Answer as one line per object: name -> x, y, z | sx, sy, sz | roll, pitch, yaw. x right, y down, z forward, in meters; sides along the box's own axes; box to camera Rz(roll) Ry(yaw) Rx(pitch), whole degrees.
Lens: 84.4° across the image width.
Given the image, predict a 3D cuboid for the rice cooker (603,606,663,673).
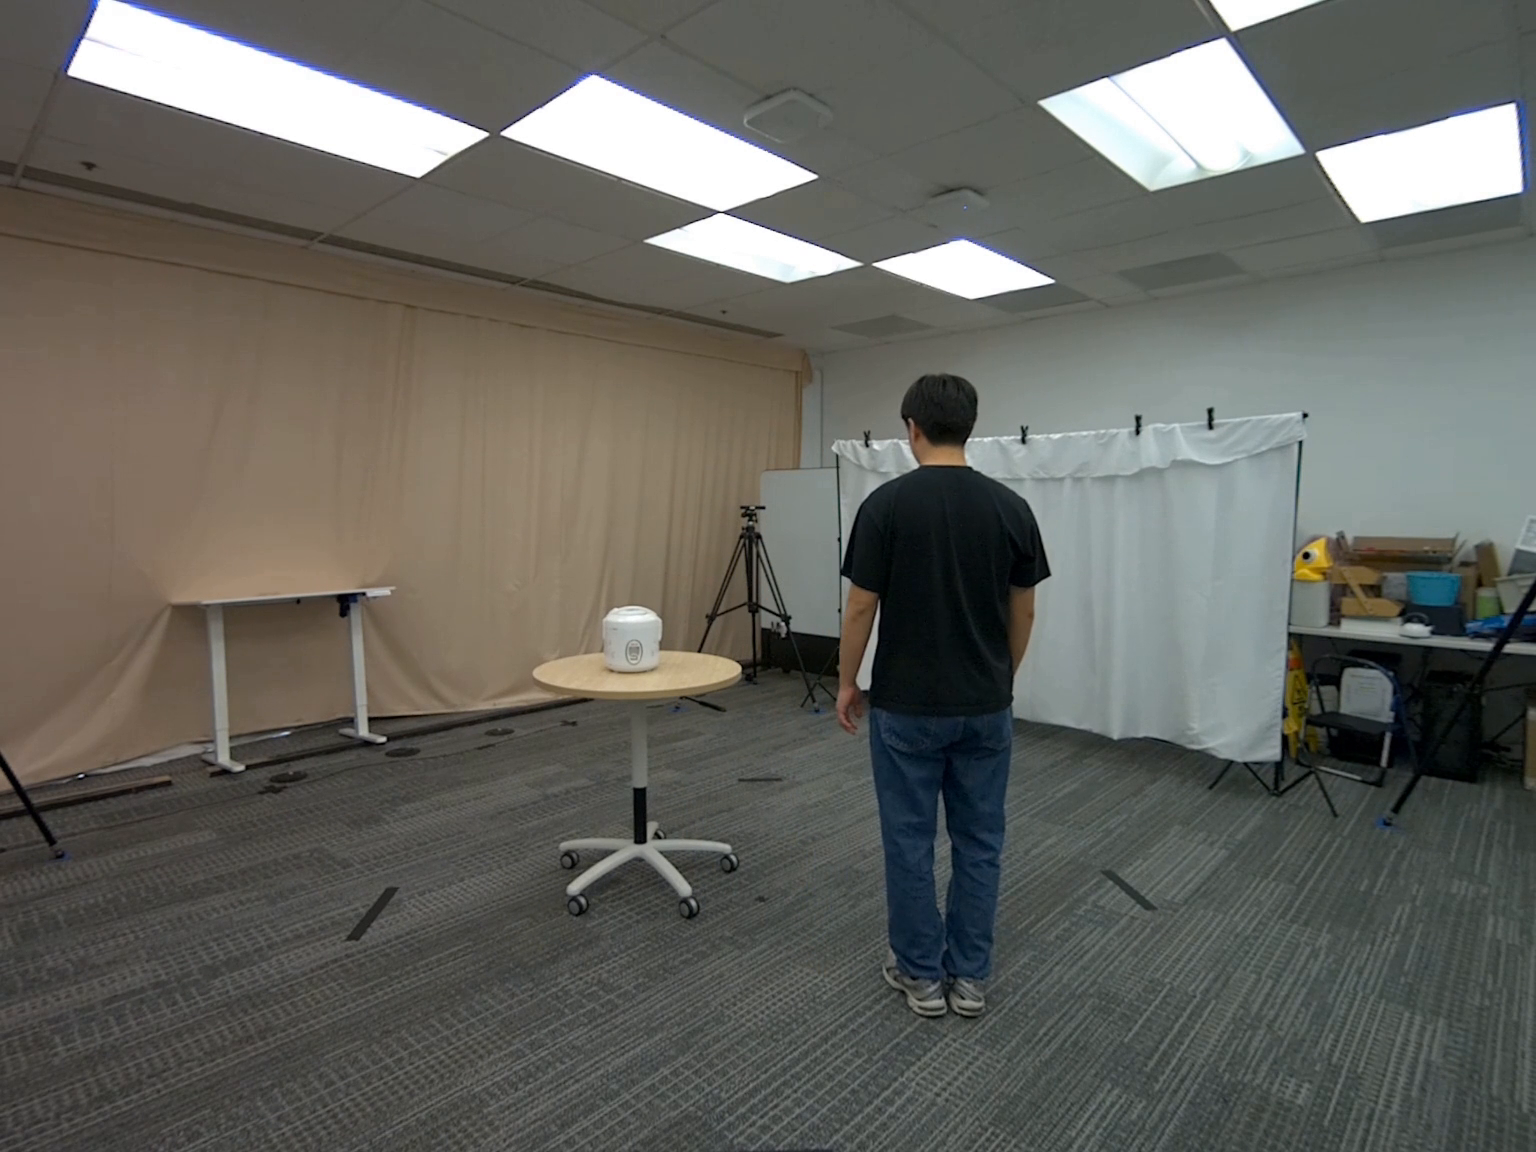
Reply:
rice cooker -> -0.501, 0.228, 3.101 | 0.218, 0.232, 0.220 | -2, 4, -12
